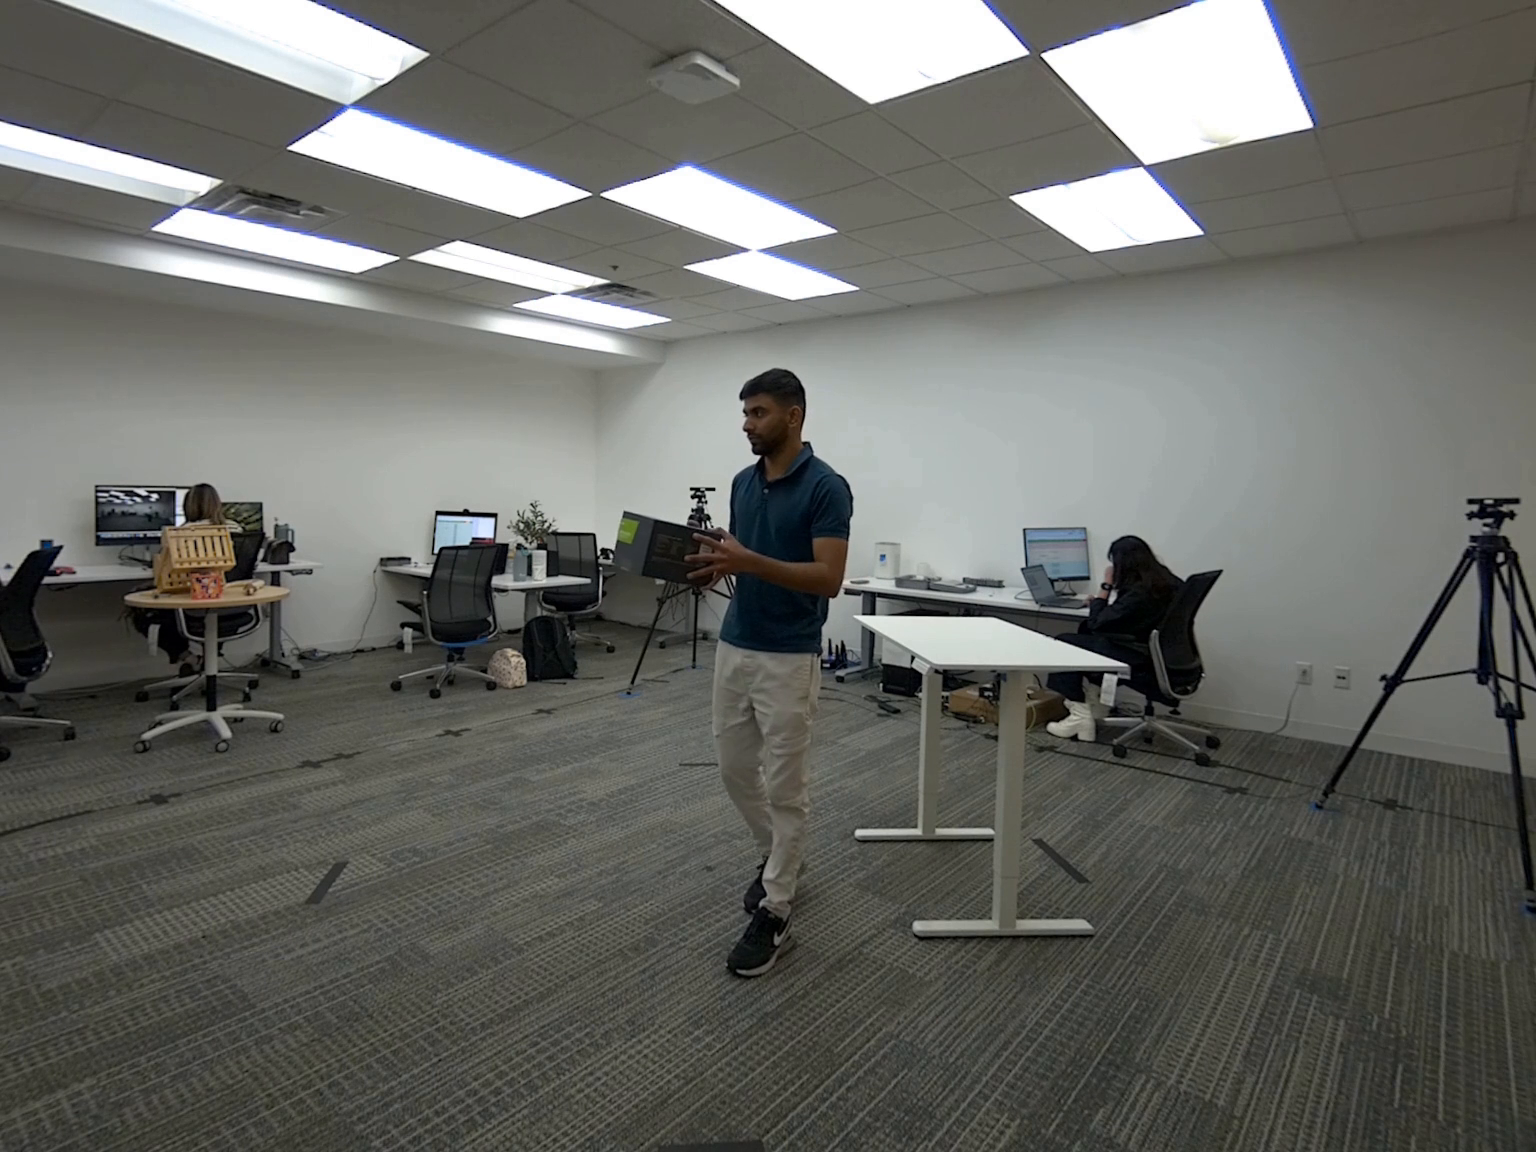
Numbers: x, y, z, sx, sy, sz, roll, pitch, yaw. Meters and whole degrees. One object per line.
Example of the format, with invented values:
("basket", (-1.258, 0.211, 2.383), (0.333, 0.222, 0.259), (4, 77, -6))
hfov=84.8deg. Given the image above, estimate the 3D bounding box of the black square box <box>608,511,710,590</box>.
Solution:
("black square box", (-0.299, -0.077, 2.396), (0.210, 0.156, 0.235), (12, 2, -29))
